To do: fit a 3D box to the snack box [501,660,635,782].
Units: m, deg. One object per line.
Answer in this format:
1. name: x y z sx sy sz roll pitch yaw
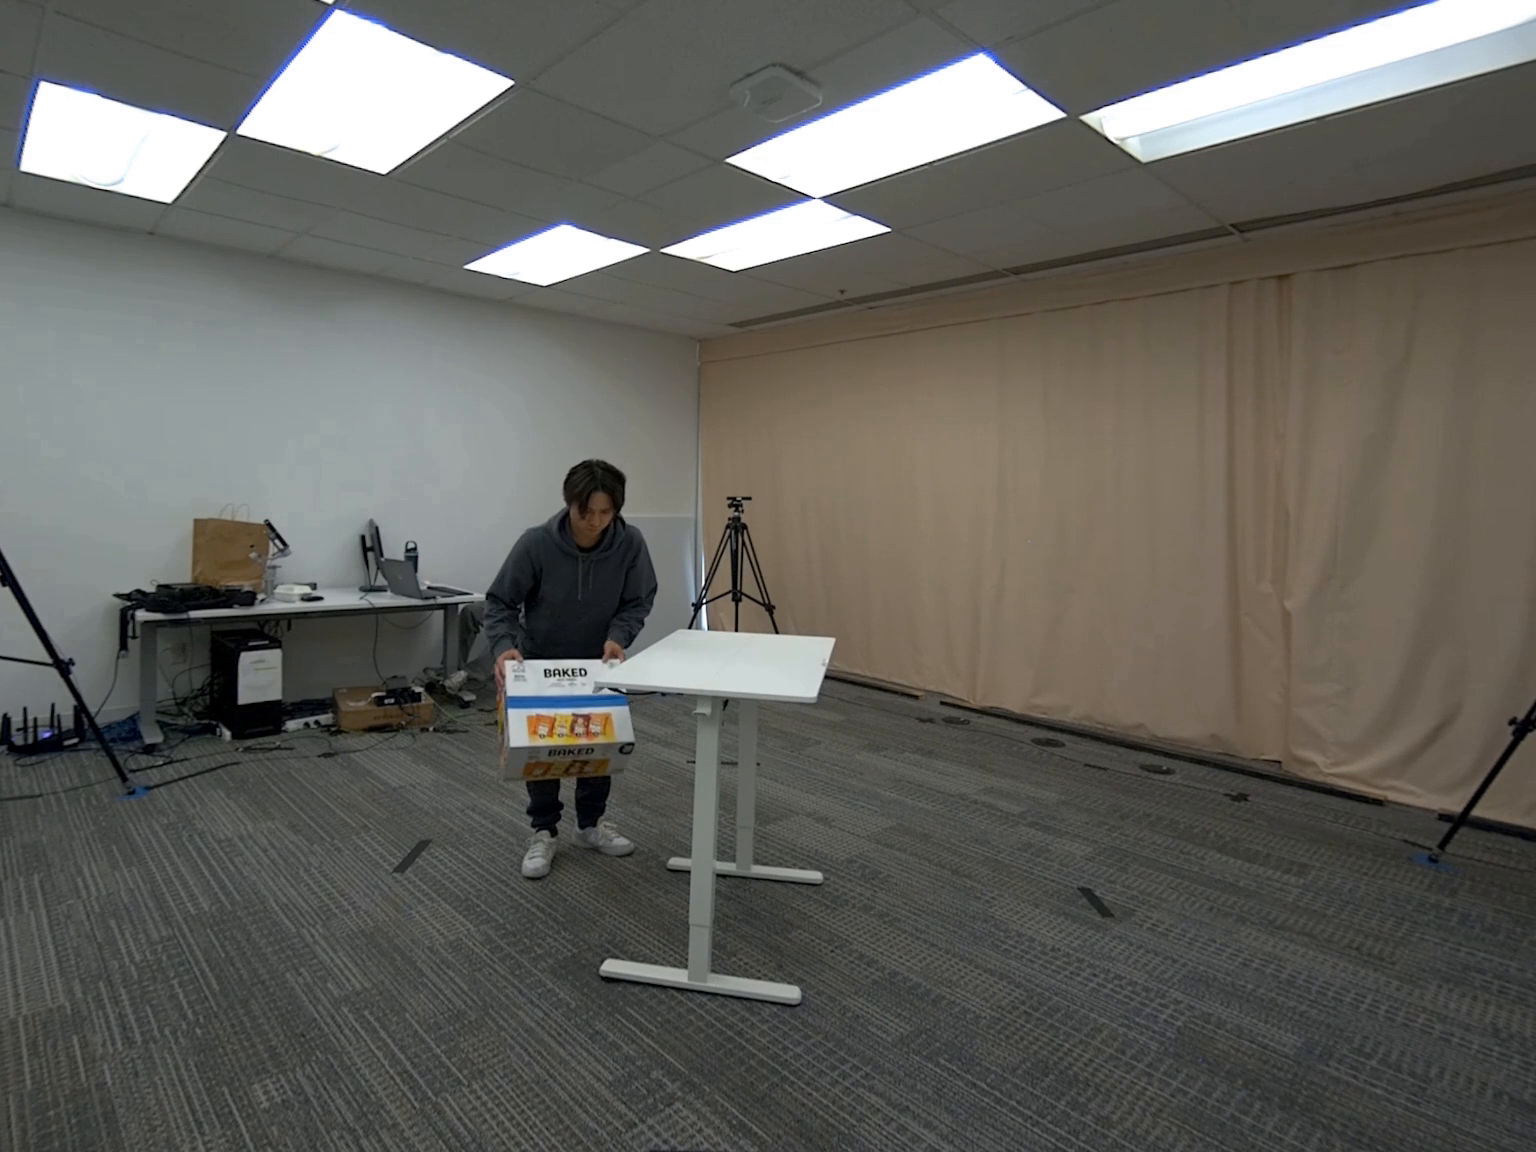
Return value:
1. snack box: -0.695 0.483 2.829 0.398 0.203 0.350 2 44 -23
